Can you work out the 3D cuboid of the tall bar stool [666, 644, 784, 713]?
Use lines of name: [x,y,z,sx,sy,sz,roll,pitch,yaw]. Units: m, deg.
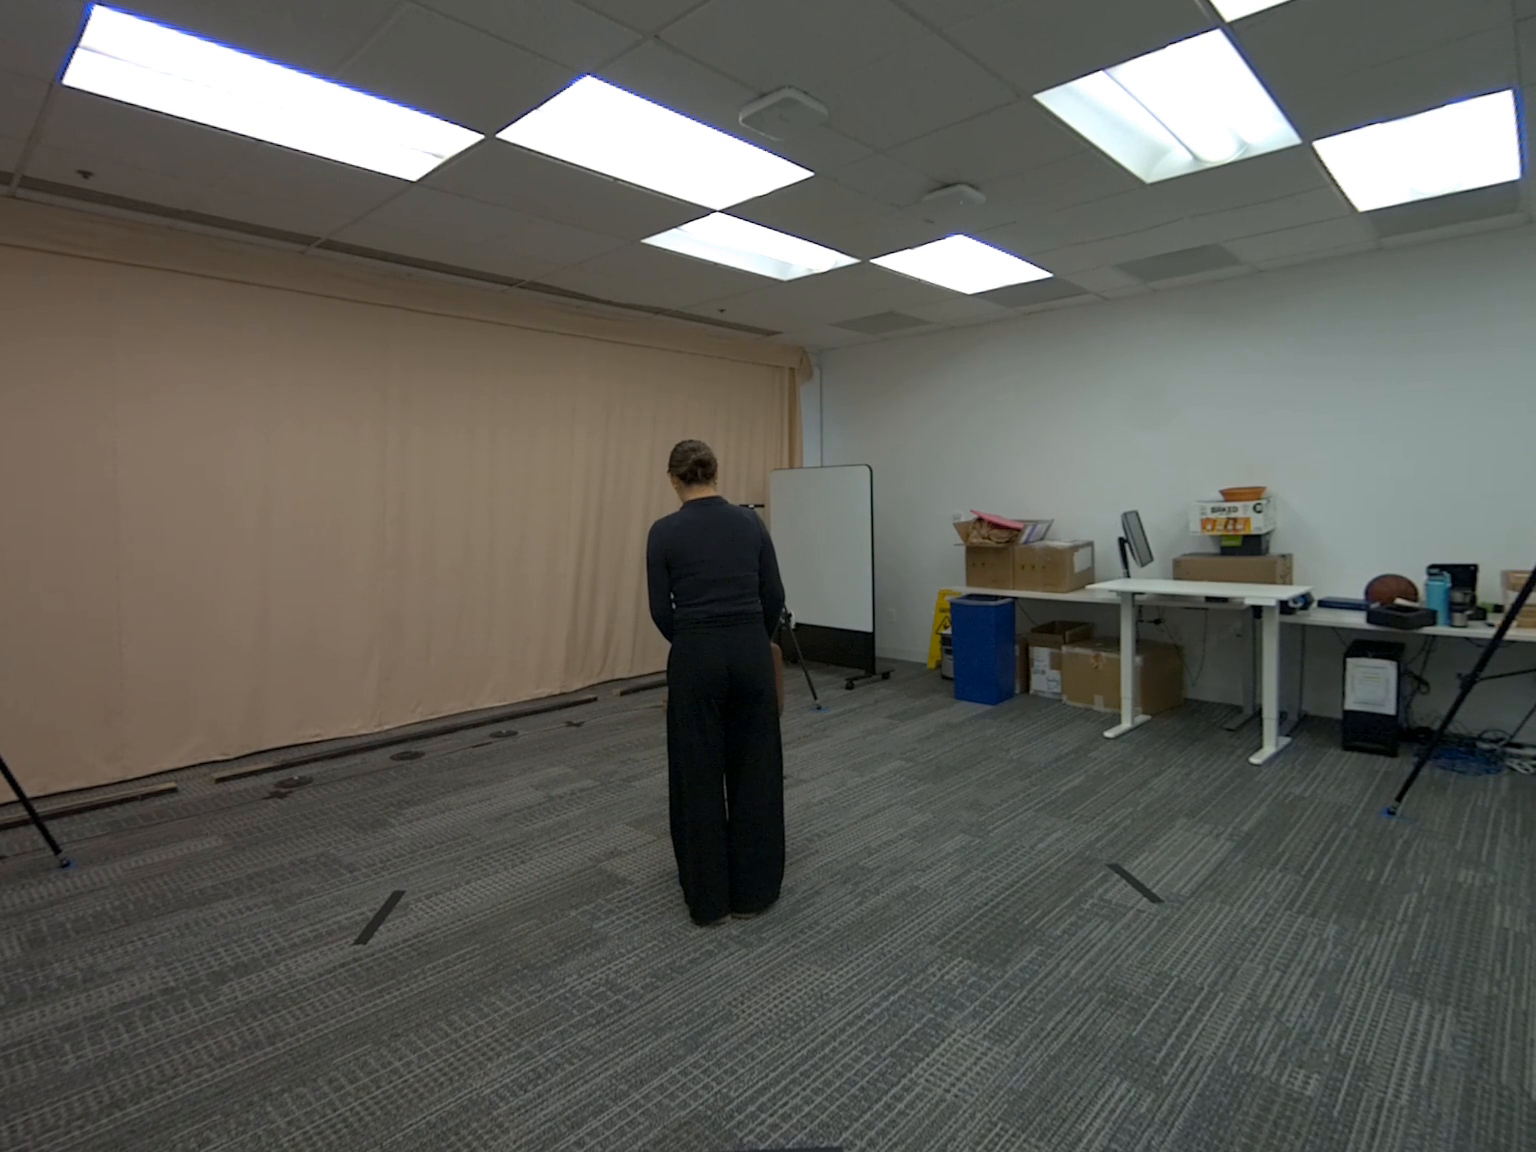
tall bar stool: [-0.184,0.672,3.359,0.452,0.887,0.474,-1,5,-11]
